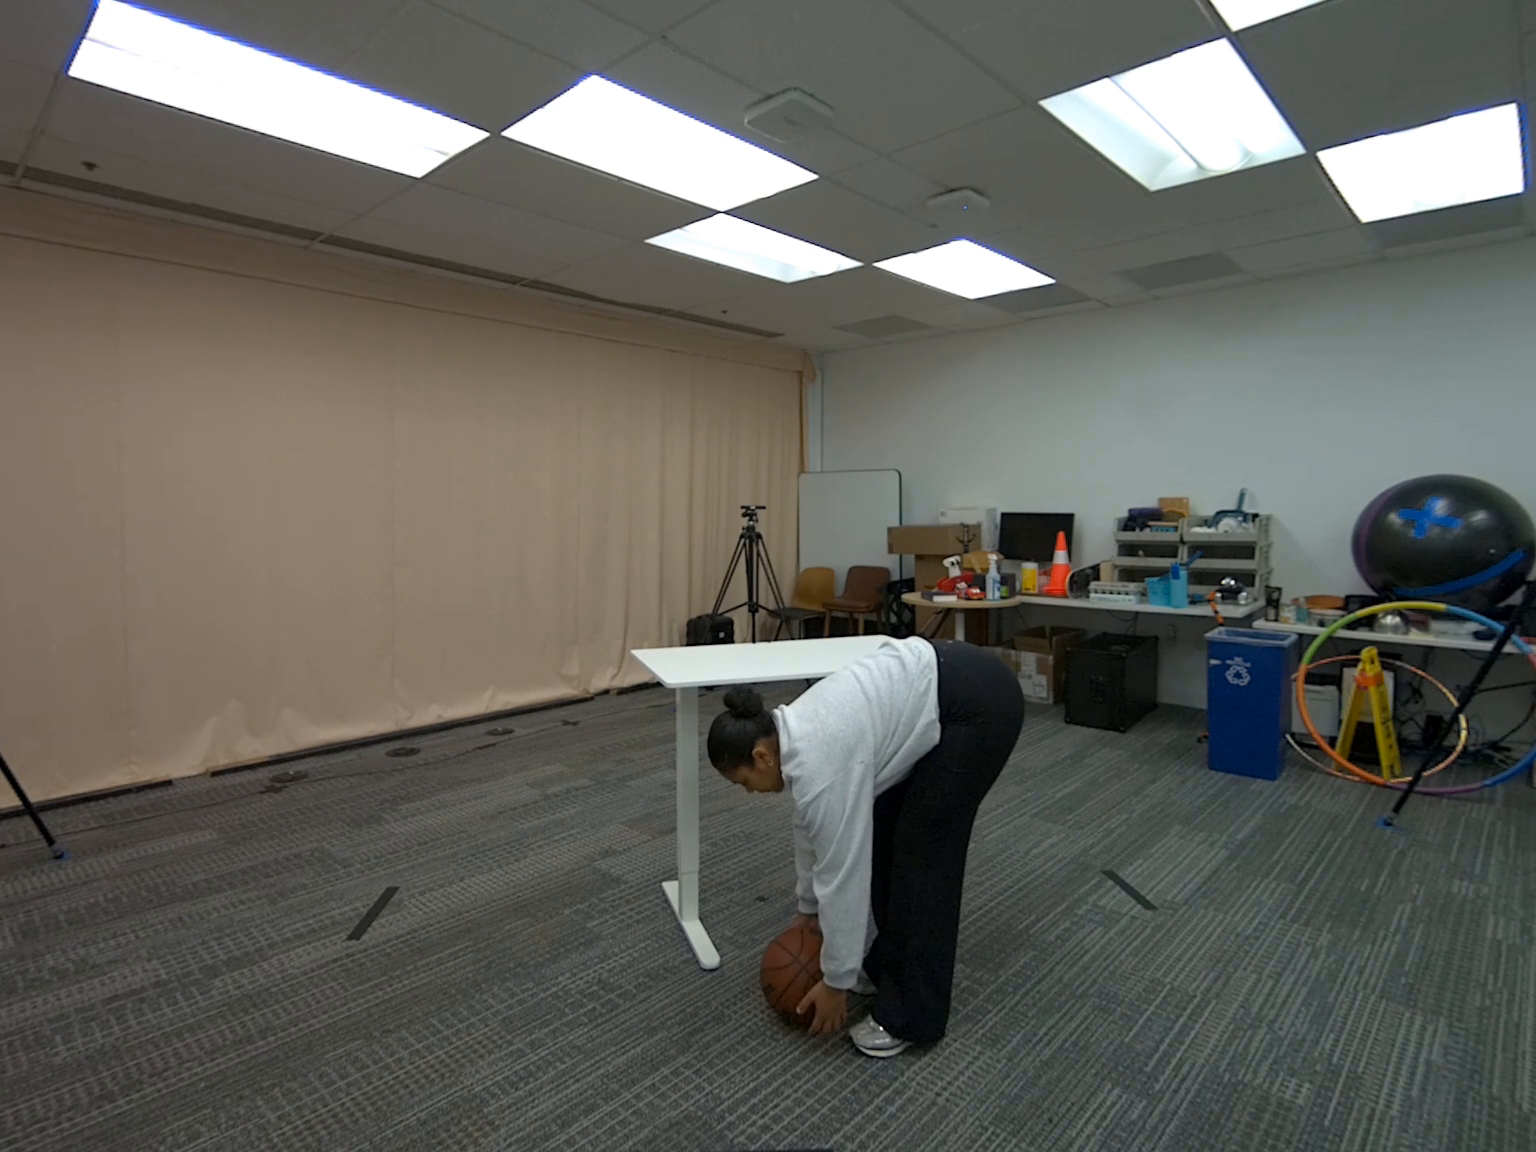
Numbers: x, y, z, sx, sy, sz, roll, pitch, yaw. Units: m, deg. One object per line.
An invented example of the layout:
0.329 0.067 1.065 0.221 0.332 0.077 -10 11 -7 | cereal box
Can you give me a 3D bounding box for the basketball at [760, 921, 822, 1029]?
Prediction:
0.103 1.085 2.288 0.236 0.235 0.237 0 4 -2 | basketball
